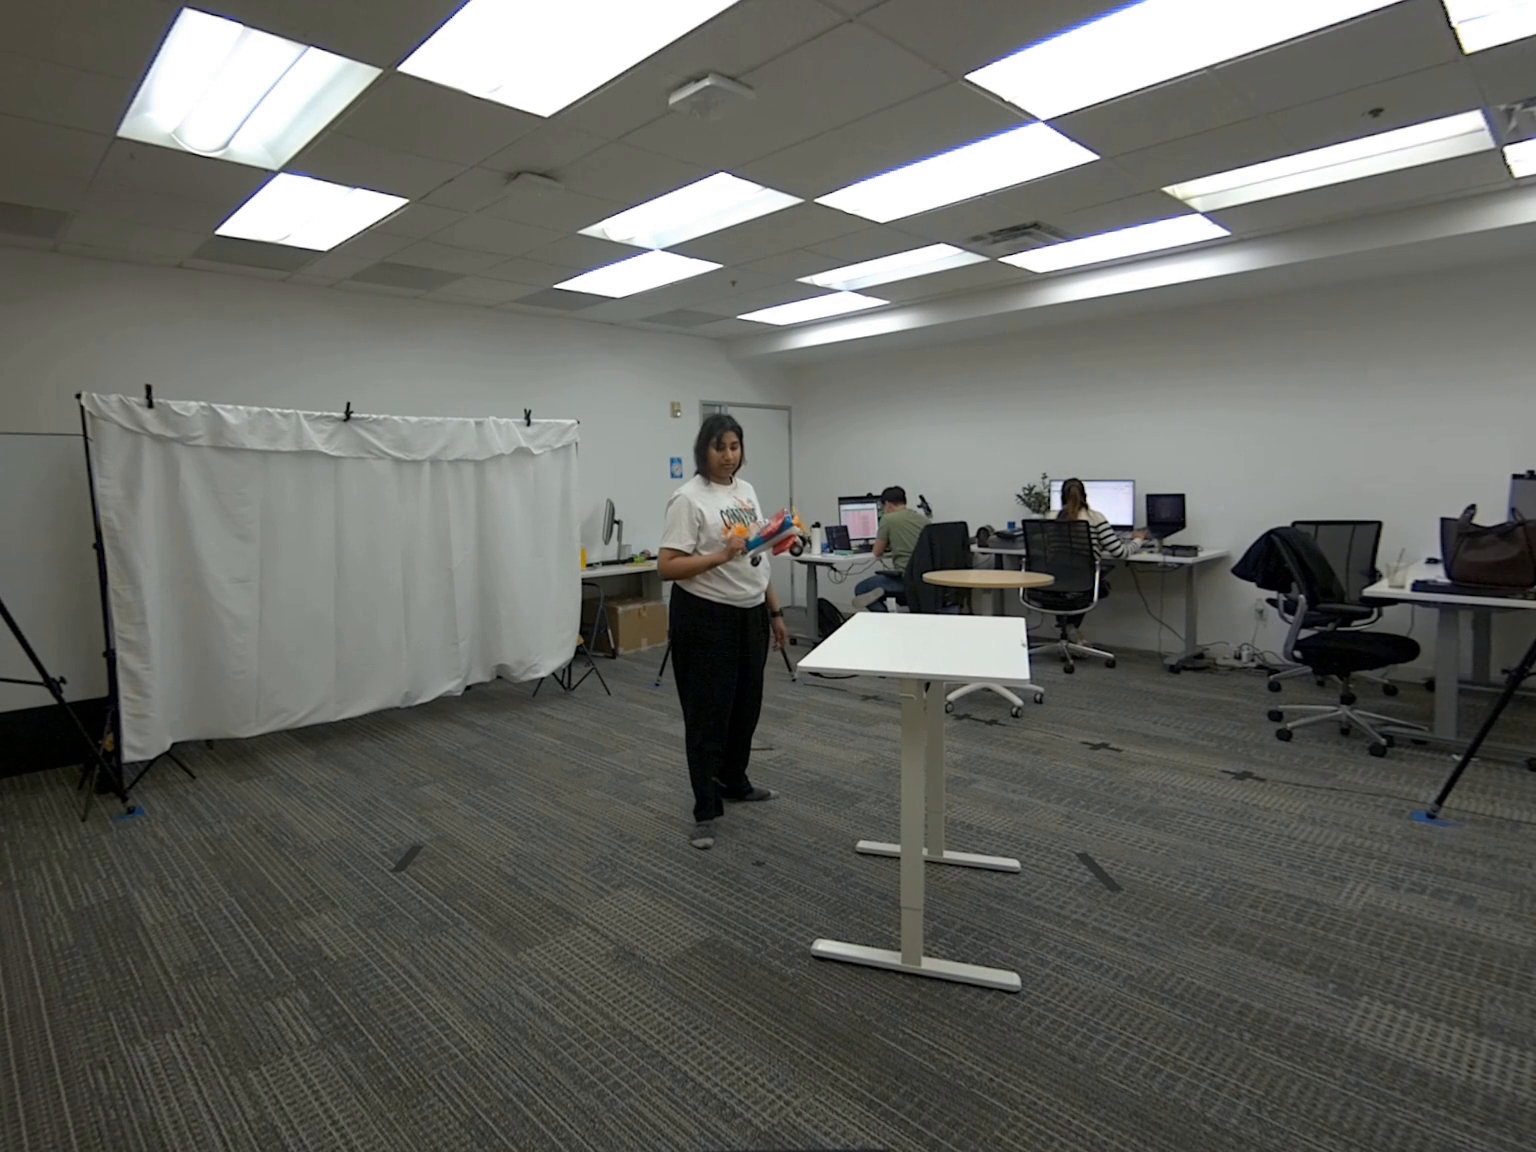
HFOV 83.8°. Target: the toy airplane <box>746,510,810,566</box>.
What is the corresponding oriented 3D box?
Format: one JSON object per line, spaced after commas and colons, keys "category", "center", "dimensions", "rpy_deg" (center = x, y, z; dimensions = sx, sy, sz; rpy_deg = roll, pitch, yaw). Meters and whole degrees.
{"category": "toy airplane", "center": [0.020, -0.131, 3.186], "dimensions": [0.258, 0.154, 0.257], "rpy_deg": [-24, 16, -9]}
